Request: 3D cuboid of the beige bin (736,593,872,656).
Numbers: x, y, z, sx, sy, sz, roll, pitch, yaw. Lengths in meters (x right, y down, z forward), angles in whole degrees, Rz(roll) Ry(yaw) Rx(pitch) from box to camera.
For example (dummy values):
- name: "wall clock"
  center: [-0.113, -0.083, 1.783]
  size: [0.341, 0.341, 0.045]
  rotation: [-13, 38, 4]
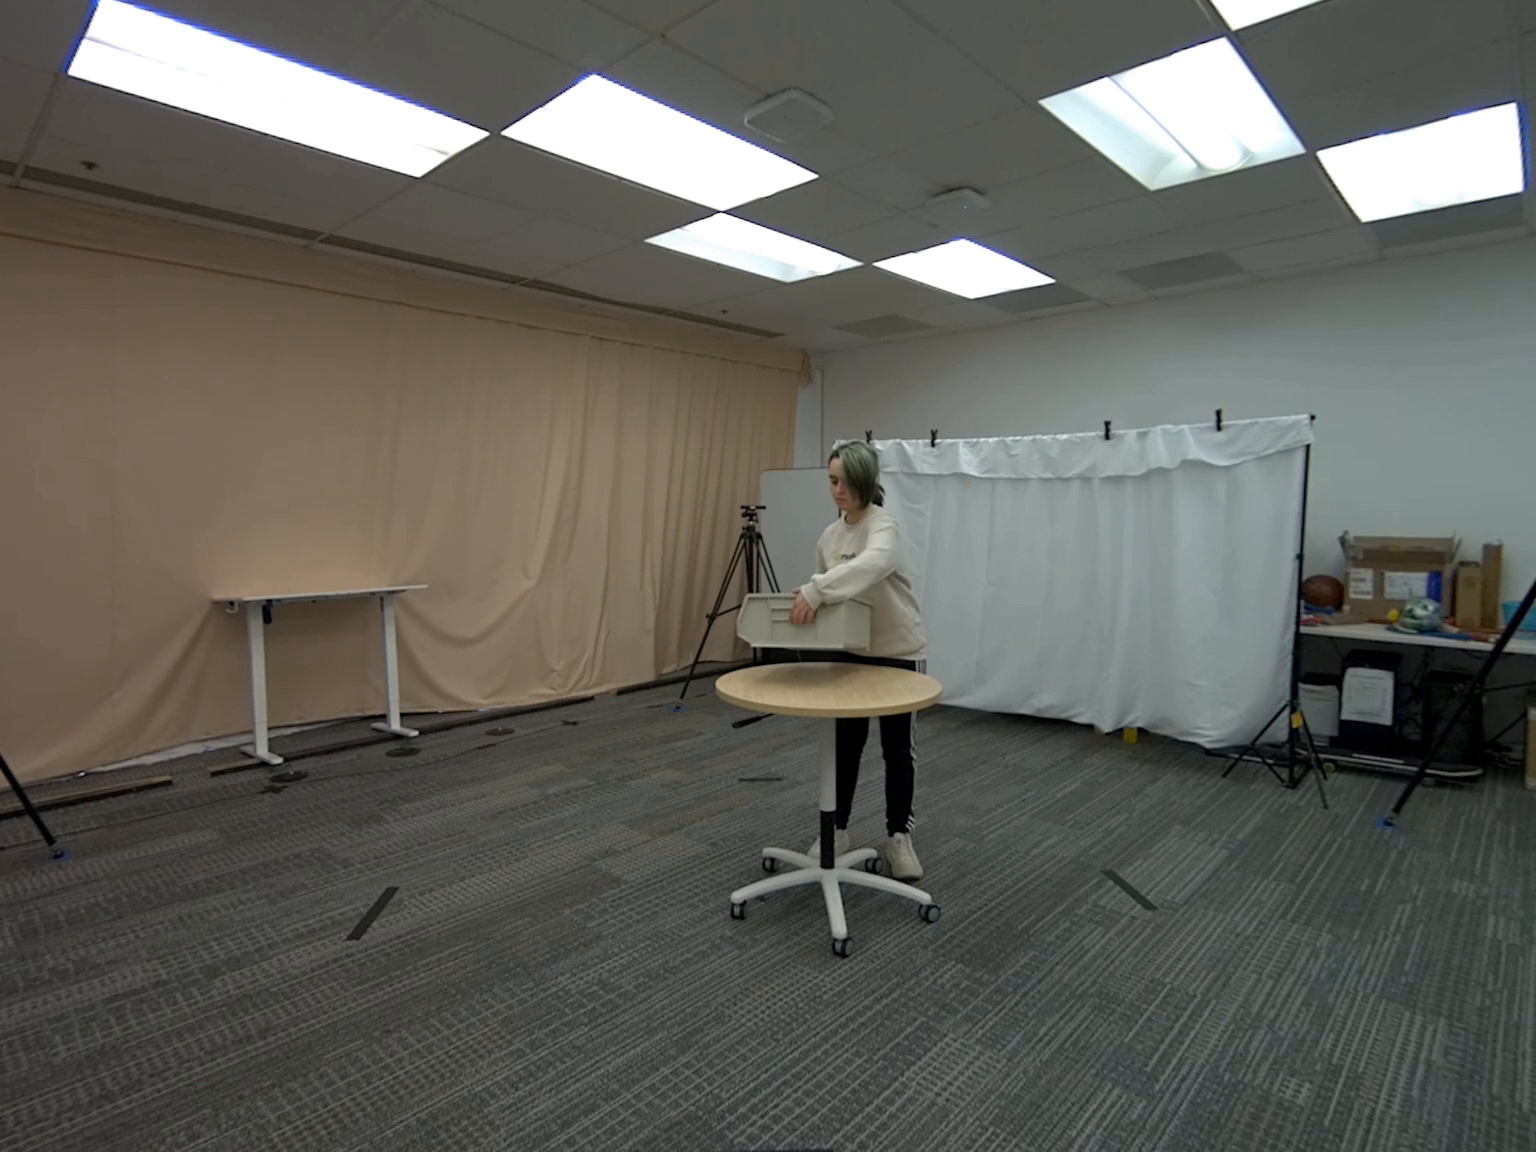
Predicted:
- name: "beige bin"
  center: [0.142, 0.169, 2.978]
  size: [0.386, 0.190, 0.411]
  rotation: [1, -7, 21]
